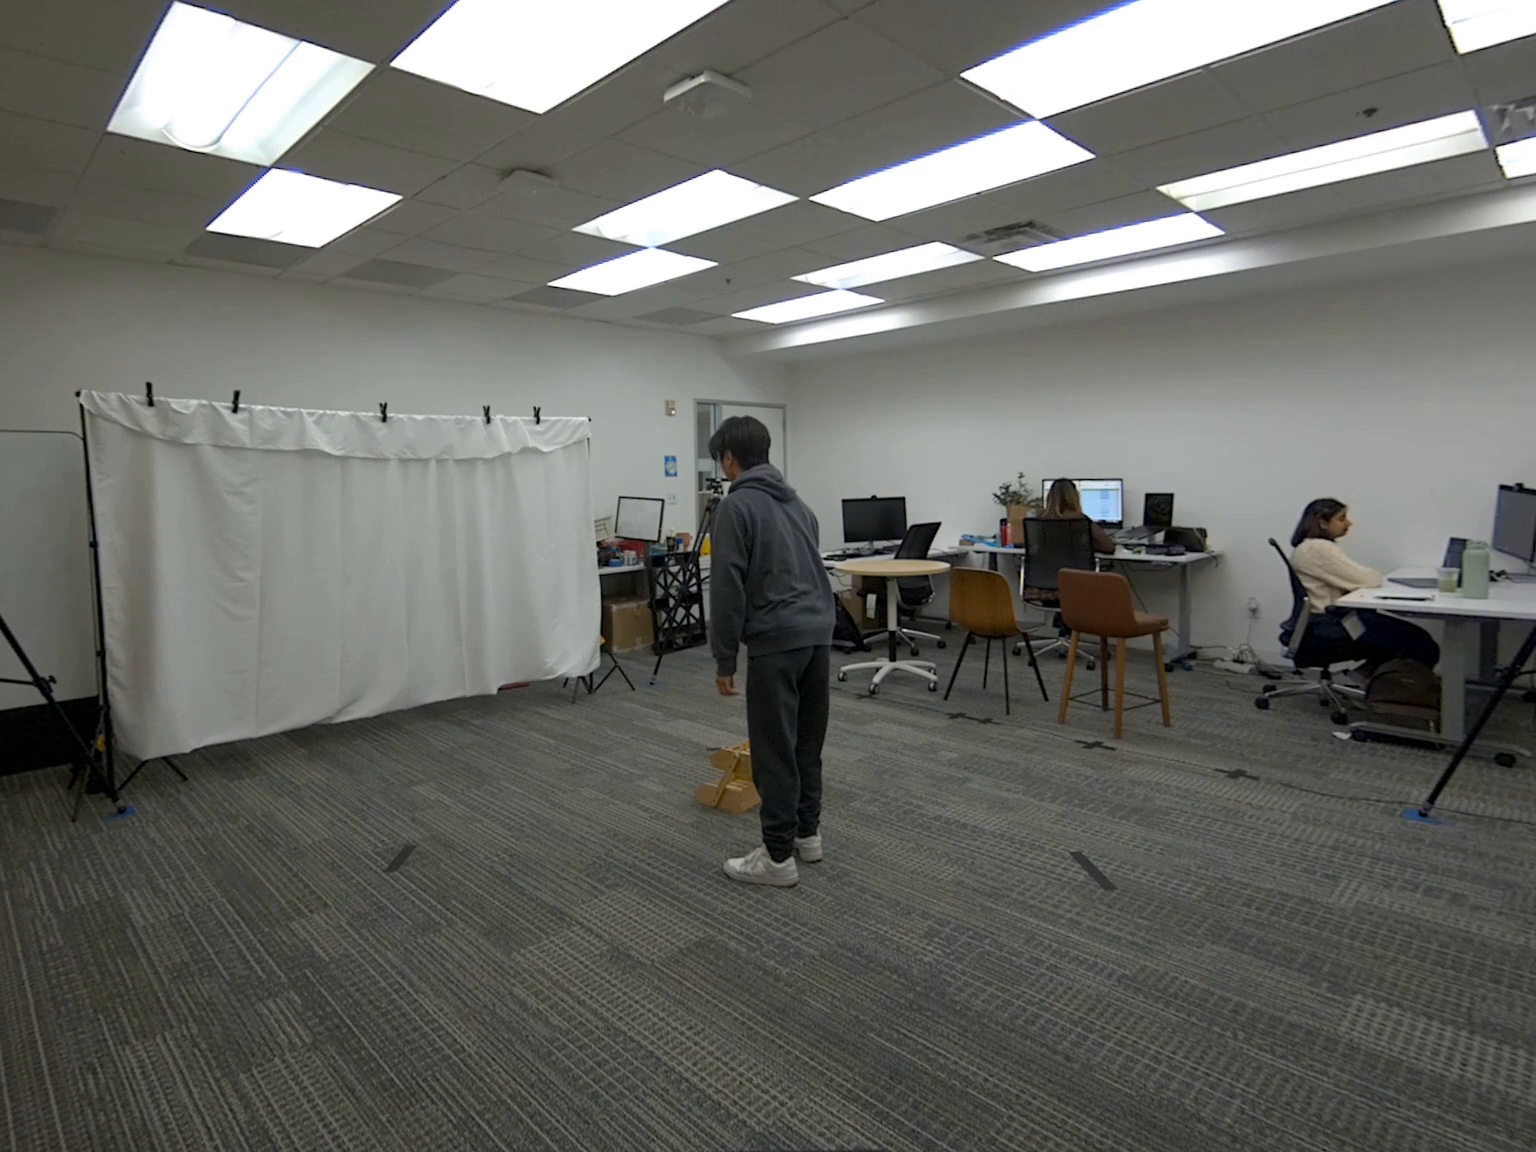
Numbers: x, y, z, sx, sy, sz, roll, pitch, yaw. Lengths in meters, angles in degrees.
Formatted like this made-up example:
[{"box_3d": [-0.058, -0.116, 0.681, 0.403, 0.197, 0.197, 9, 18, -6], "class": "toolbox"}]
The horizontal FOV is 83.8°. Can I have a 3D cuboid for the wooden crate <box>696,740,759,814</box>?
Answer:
[{"box_3d": [-0.120, 0.842, 3.741, 0.311, 0.272, 0.316, 3, 6, 35], "class": "wooden crate"}]
